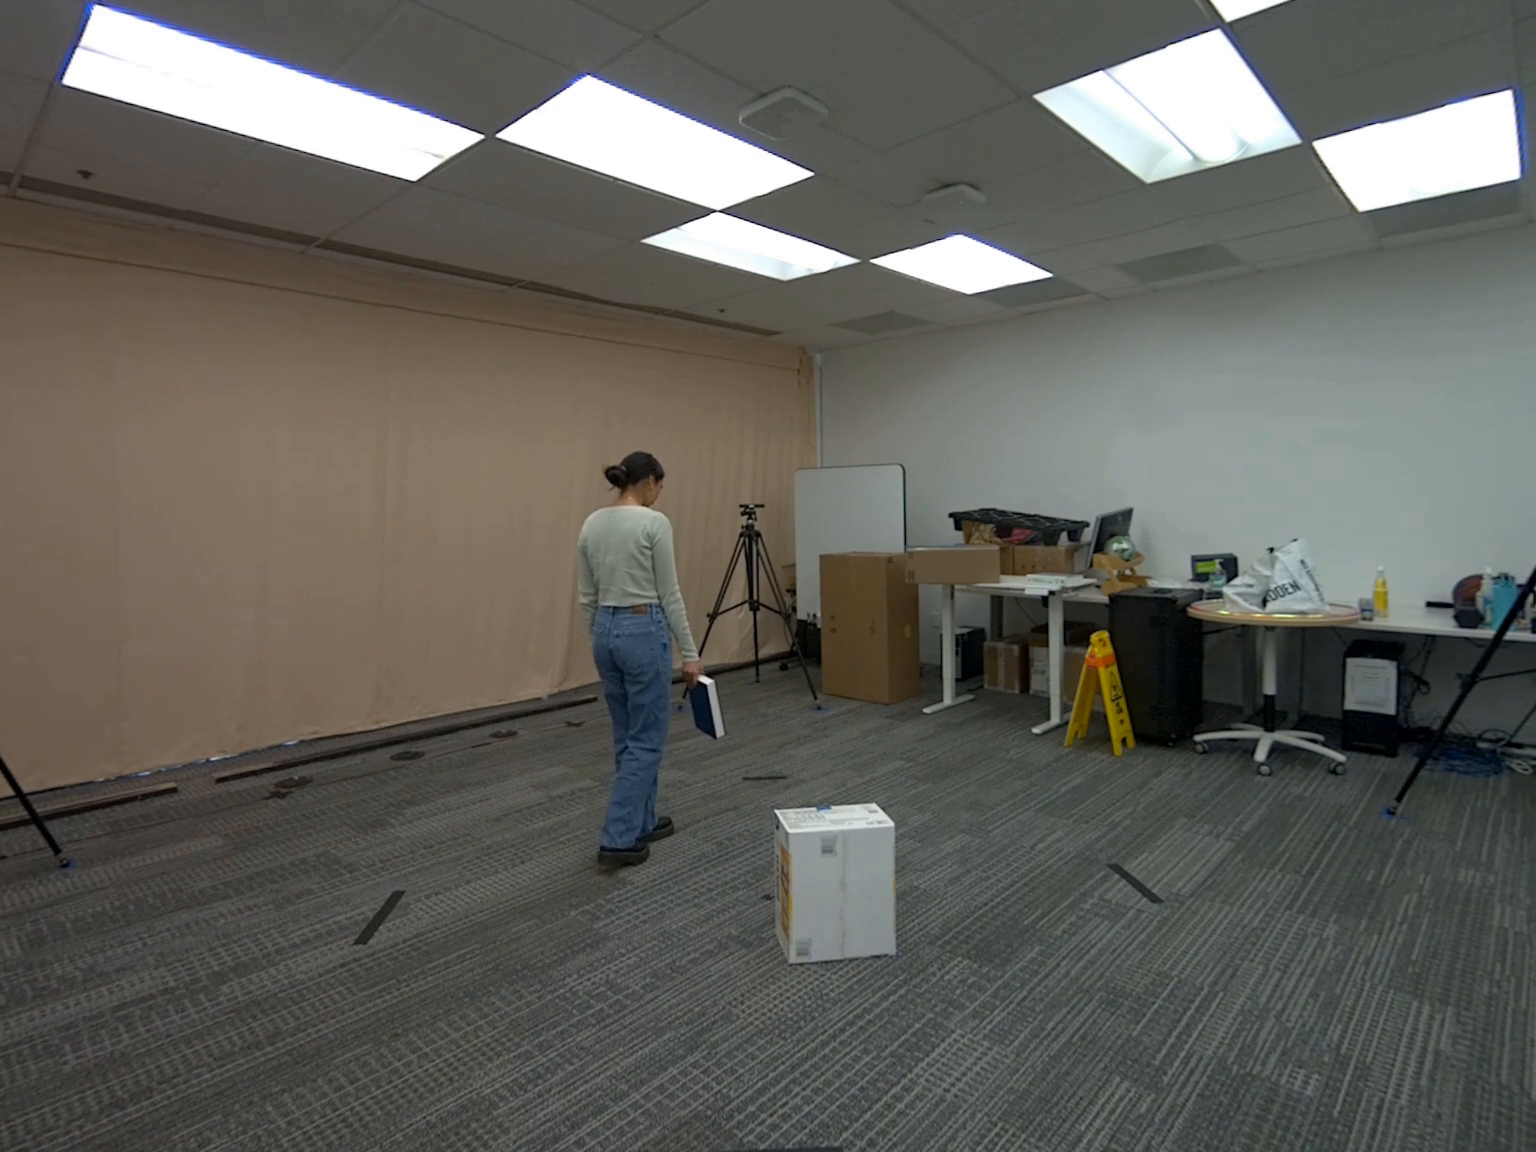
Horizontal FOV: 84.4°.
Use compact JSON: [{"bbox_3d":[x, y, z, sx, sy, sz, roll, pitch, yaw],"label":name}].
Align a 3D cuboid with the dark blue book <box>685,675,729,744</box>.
[{"bbox_3d":[-0.246,0.516,3.338,0.044,0.242,0.169,-21,21,-33],"label":"dark blue book"}]
